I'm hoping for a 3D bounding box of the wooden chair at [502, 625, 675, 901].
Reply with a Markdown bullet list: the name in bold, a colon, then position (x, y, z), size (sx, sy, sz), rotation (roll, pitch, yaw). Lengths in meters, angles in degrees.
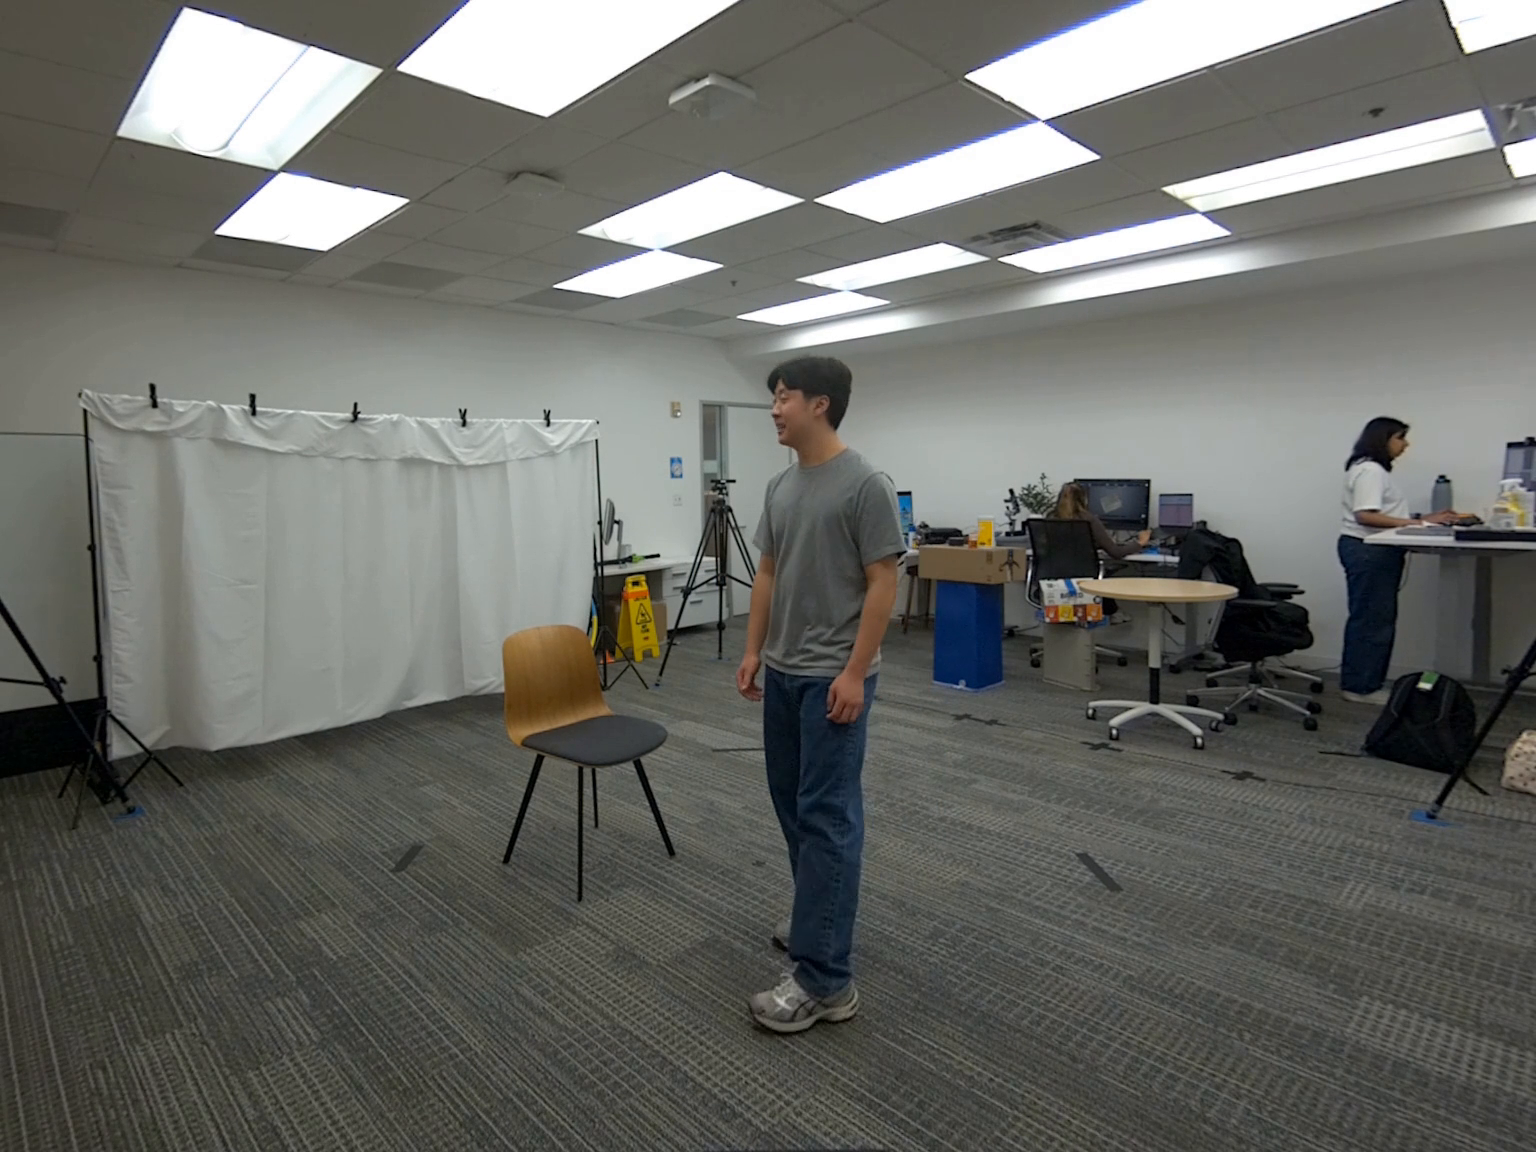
- **wooden chair**: position (-0.664, 0.628, 3.131), size (0.537, 0.877, 0.466), rotation (-4, 1, 41)
